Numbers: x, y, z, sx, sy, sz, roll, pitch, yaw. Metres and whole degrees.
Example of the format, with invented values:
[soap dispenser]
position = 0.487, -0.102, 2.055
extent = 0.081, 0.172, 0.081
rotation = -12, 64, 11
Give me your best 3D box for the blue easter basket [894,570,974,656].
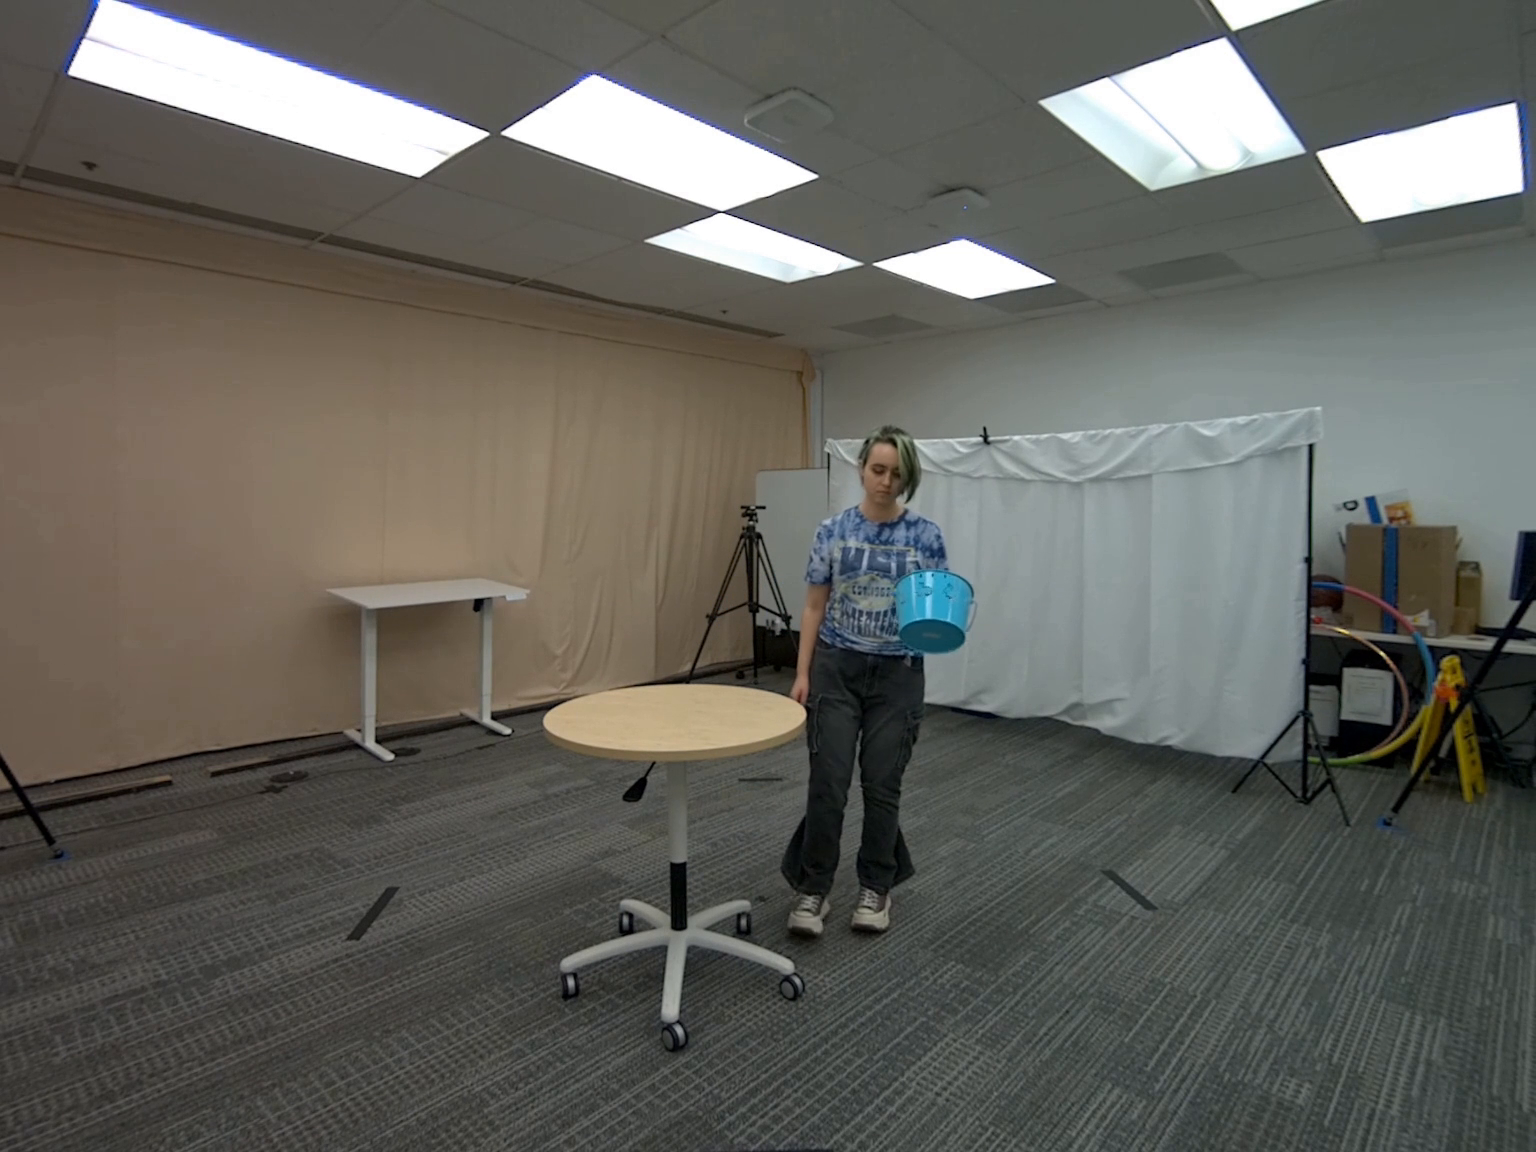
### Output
[blue easter basket]
position = 0.489, 0.116, 2.423
extent = 0.245, 0.157, 0.239
rotation = 9, -37, 5
